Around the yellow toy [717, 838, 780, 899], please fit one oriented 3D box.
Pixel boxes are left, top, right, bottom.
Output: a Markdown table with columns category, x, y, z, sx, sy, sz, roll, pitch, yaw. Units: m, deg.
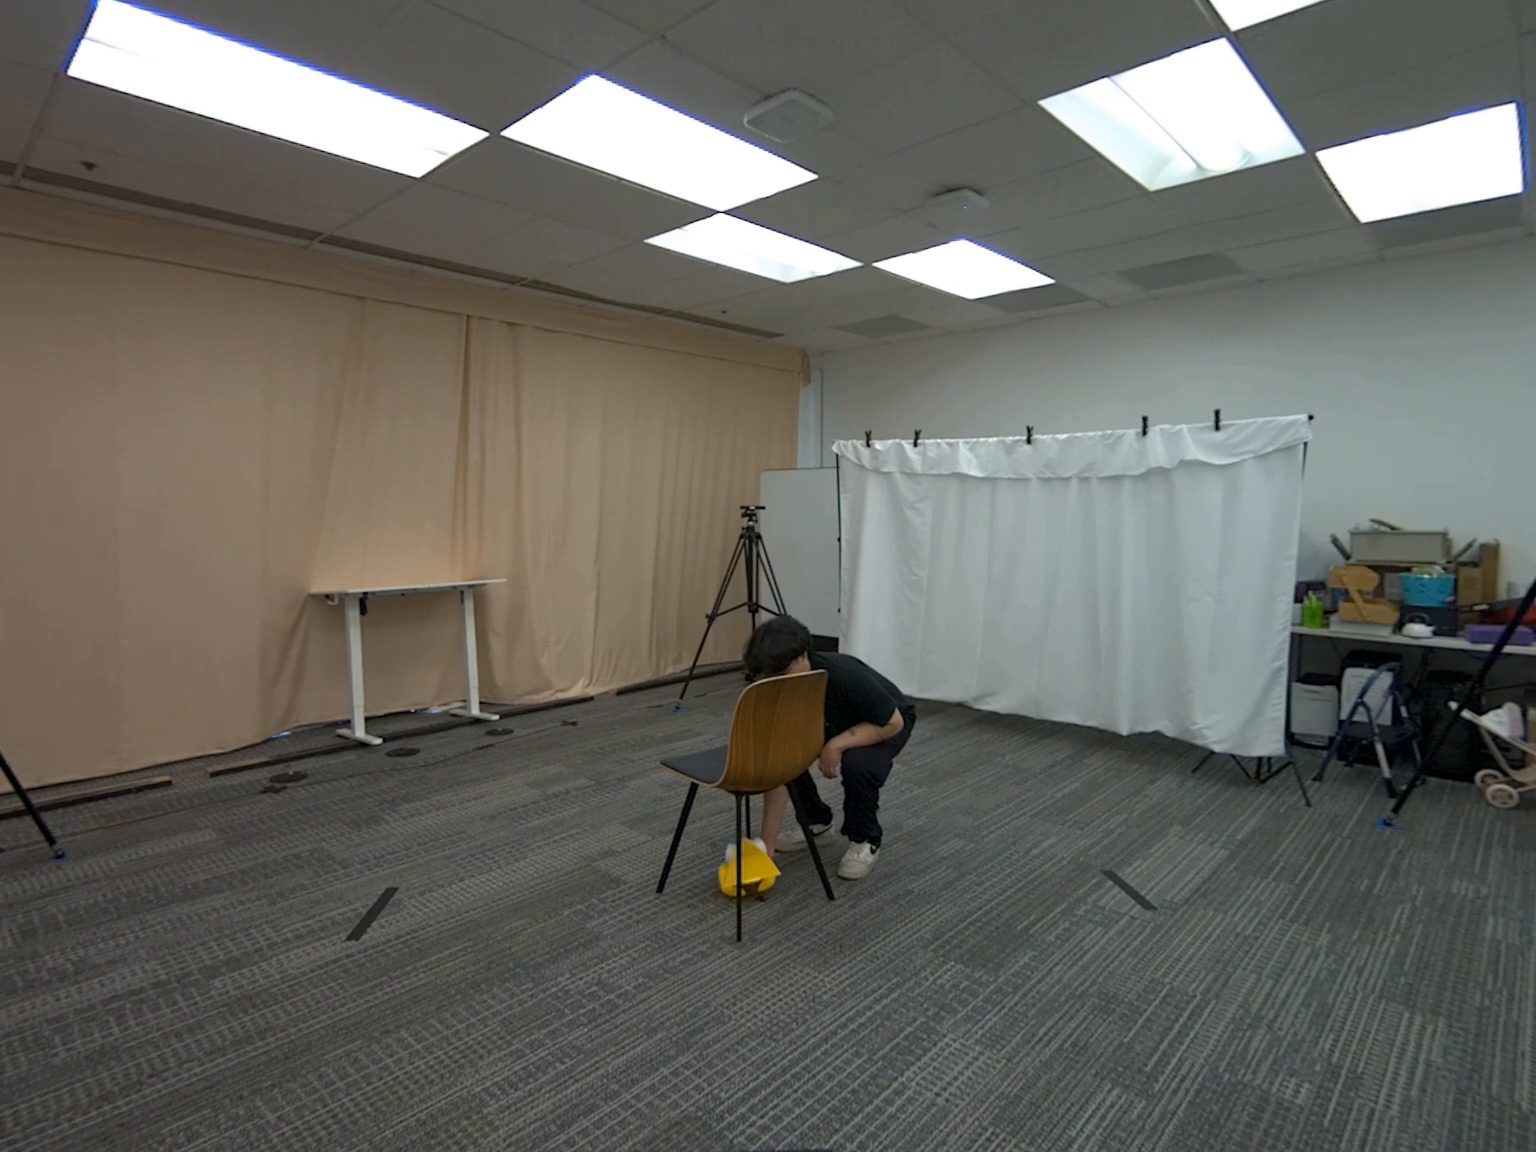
| category | x | y | z | sx | sy | sz | roll | pitch | yaw |
| --- | --- | --- | --- | --- | --- | --- | --- | --- | --- |
| yellow toy | -0.074 | 0.986 | 2.984 | 0.203 | 0.227 | 0.198 | -8 | 25 | -11 |
